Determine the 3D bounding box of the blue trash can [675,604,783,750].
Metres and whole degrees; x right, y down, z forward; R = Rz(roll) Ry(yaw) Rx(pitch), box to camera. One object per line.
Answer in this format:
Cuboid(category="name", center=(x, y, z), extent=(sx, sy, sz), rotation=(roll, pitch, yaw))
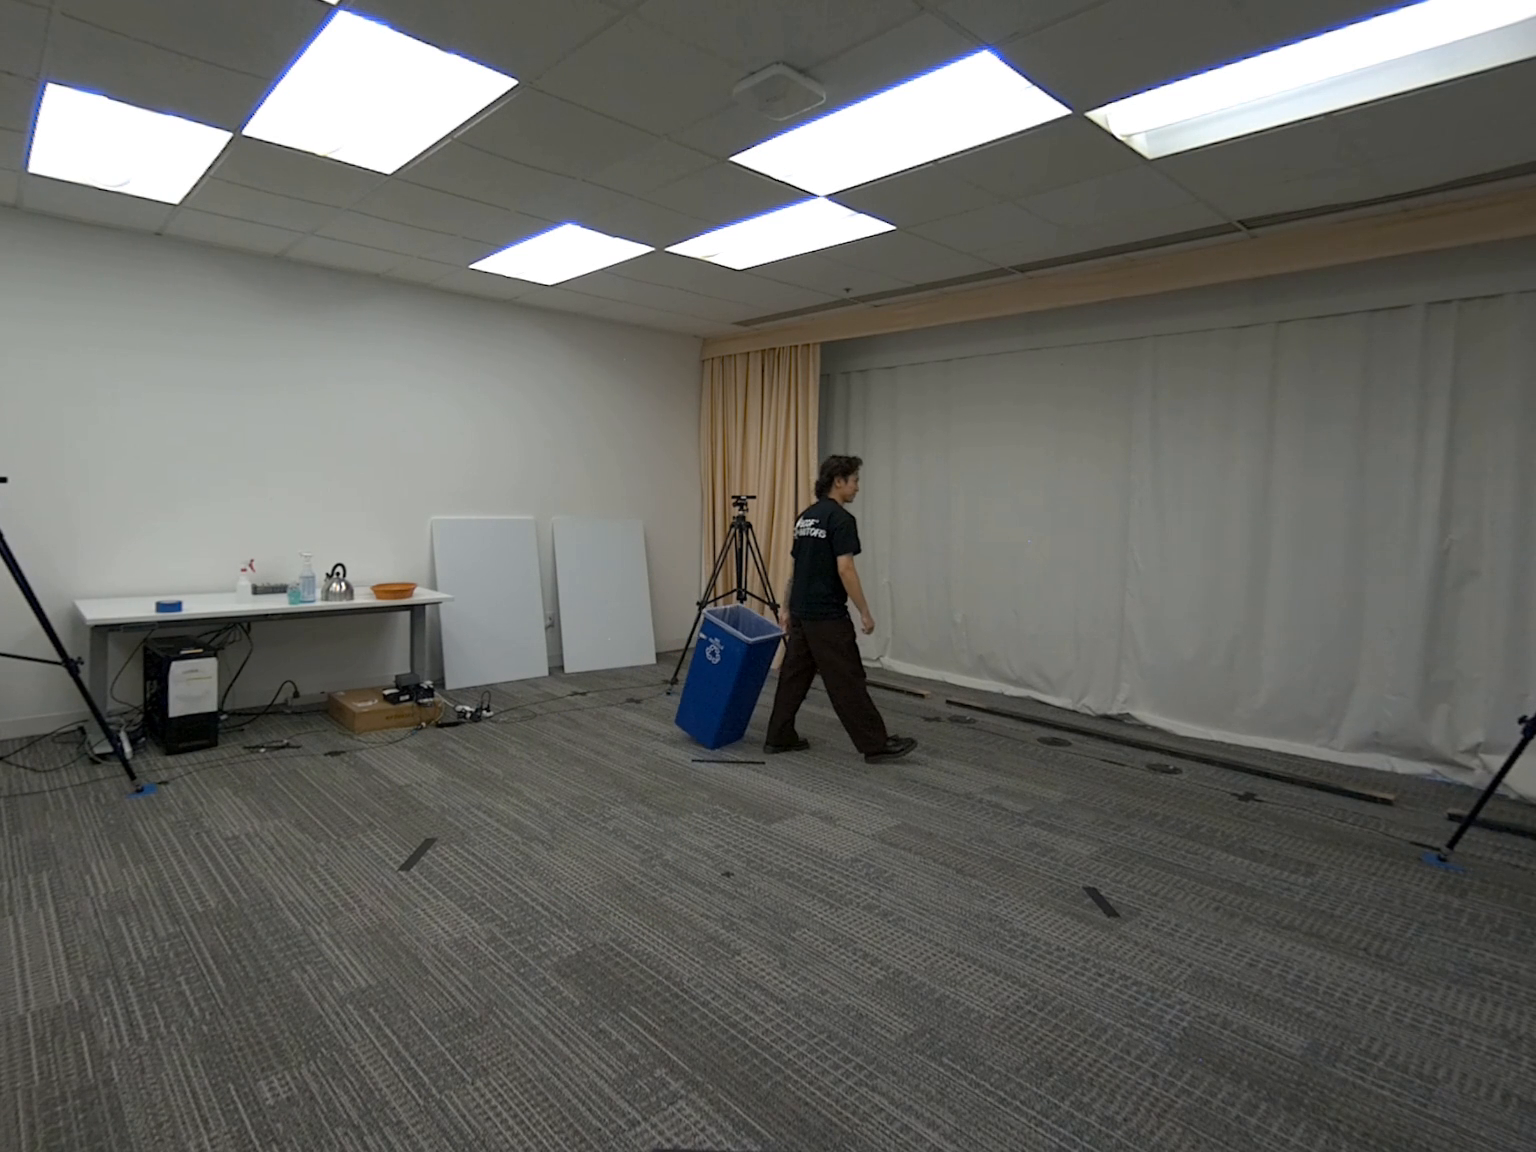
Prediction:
Cuboid(category="blue trash can", center=(-0.234, 0.570, 4.745), extent=(0.385, 0.708, 0.370), rotation=(27, 19, 32))
